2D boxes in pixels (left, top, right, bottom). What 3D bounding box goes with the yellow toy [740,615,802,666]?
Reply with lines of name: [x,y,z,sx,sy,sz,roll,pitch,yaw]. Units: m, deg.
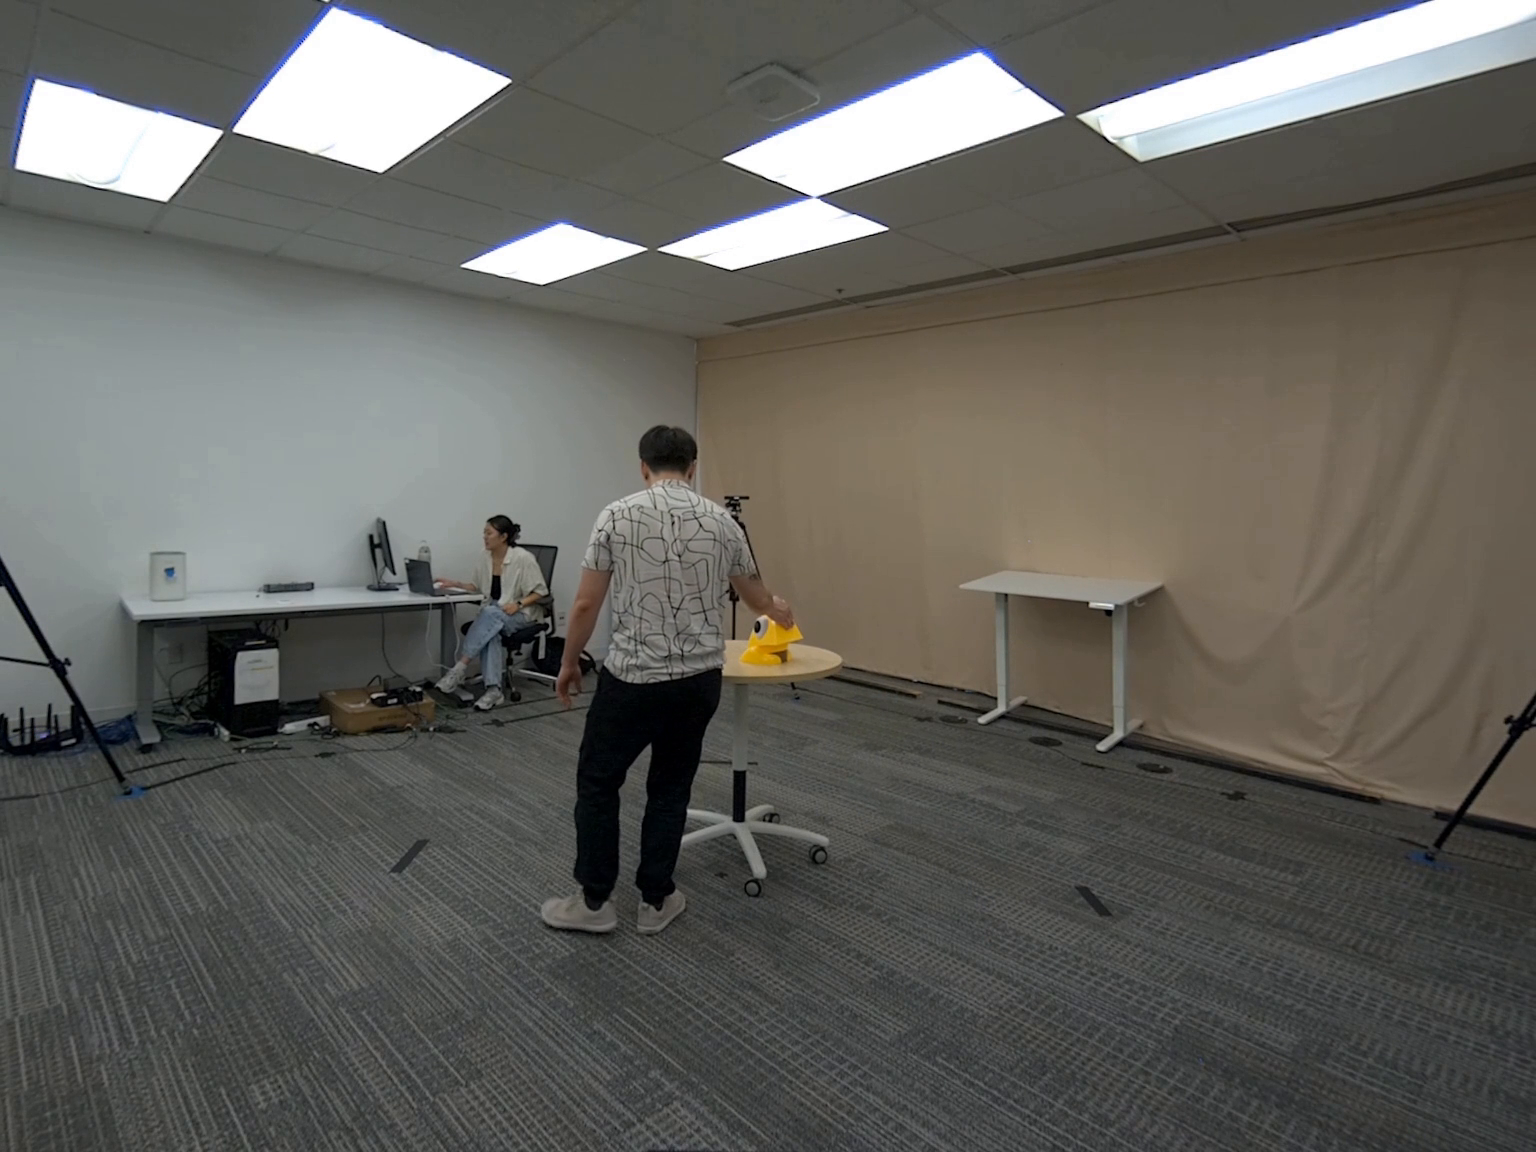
yellow toy: [-0.004,0.205,3.165,0.197,0.230,0.200,3,4,33]
